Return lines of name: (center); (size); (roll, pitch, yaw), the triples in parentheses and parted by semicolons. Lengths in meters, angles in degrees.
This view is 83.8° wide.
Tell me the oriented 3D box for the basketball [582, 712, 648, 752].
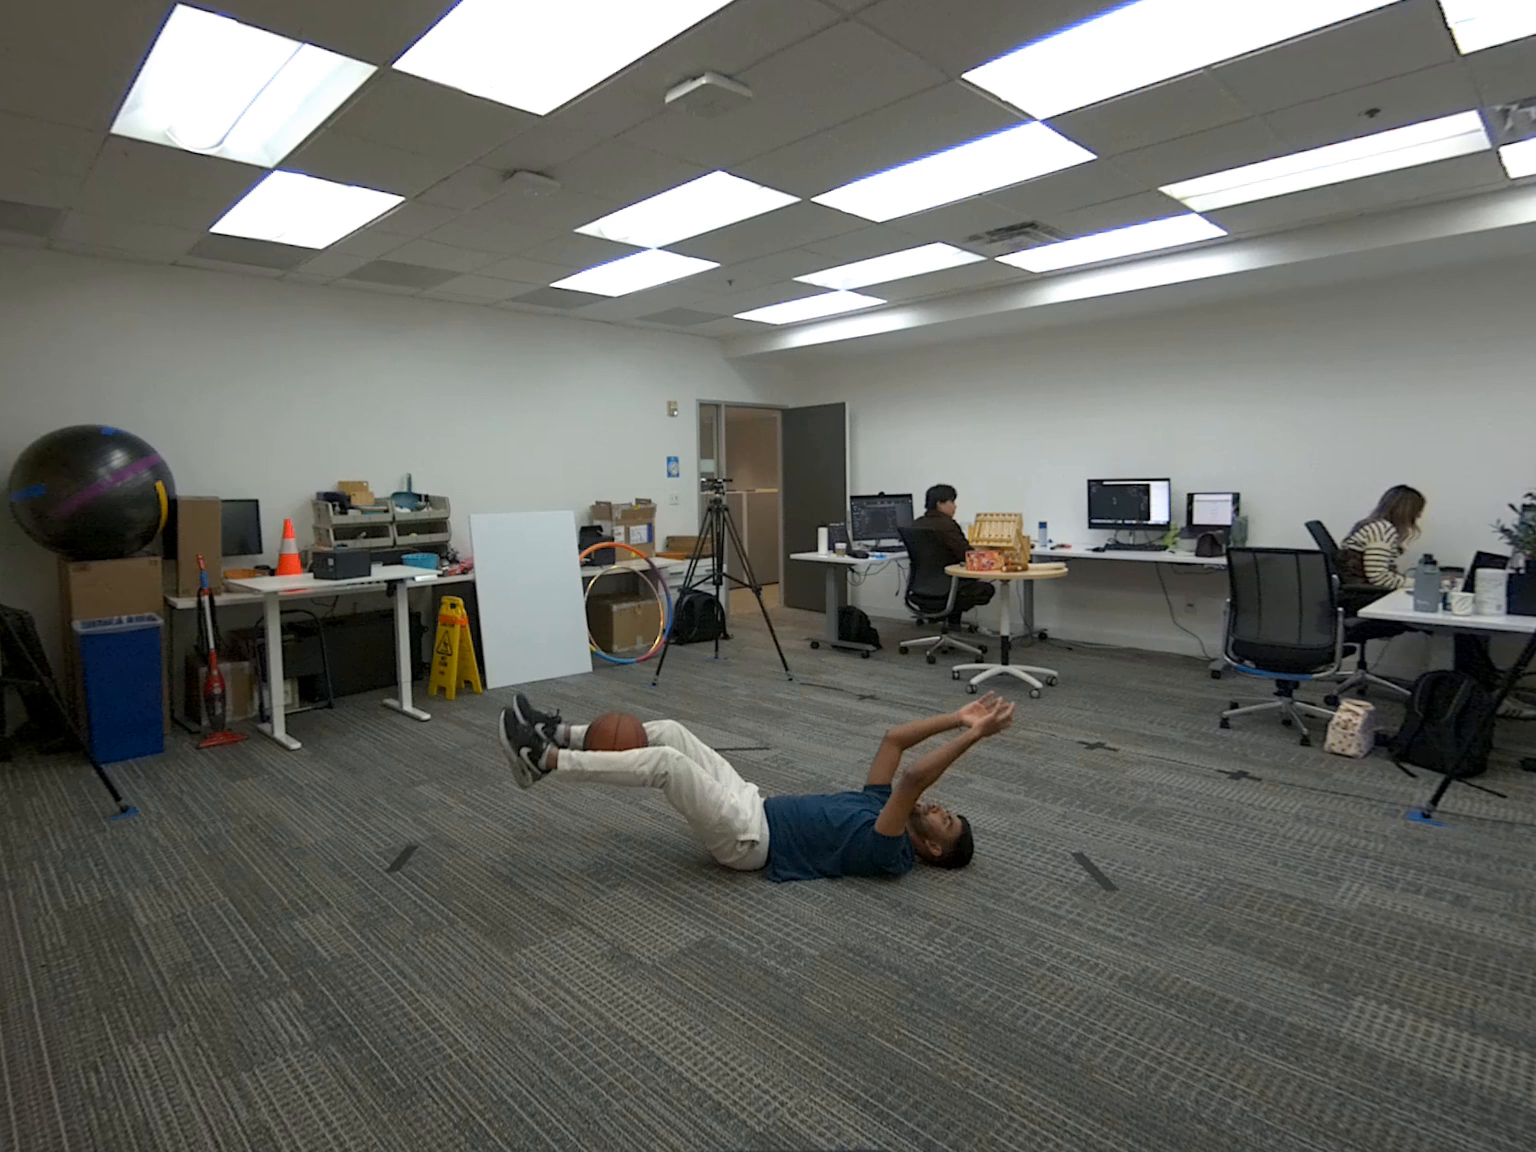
basketball: (-0.544, 0.614, 3.136); (0.236, 0.235, 0.237); (-1, 5, -2)
